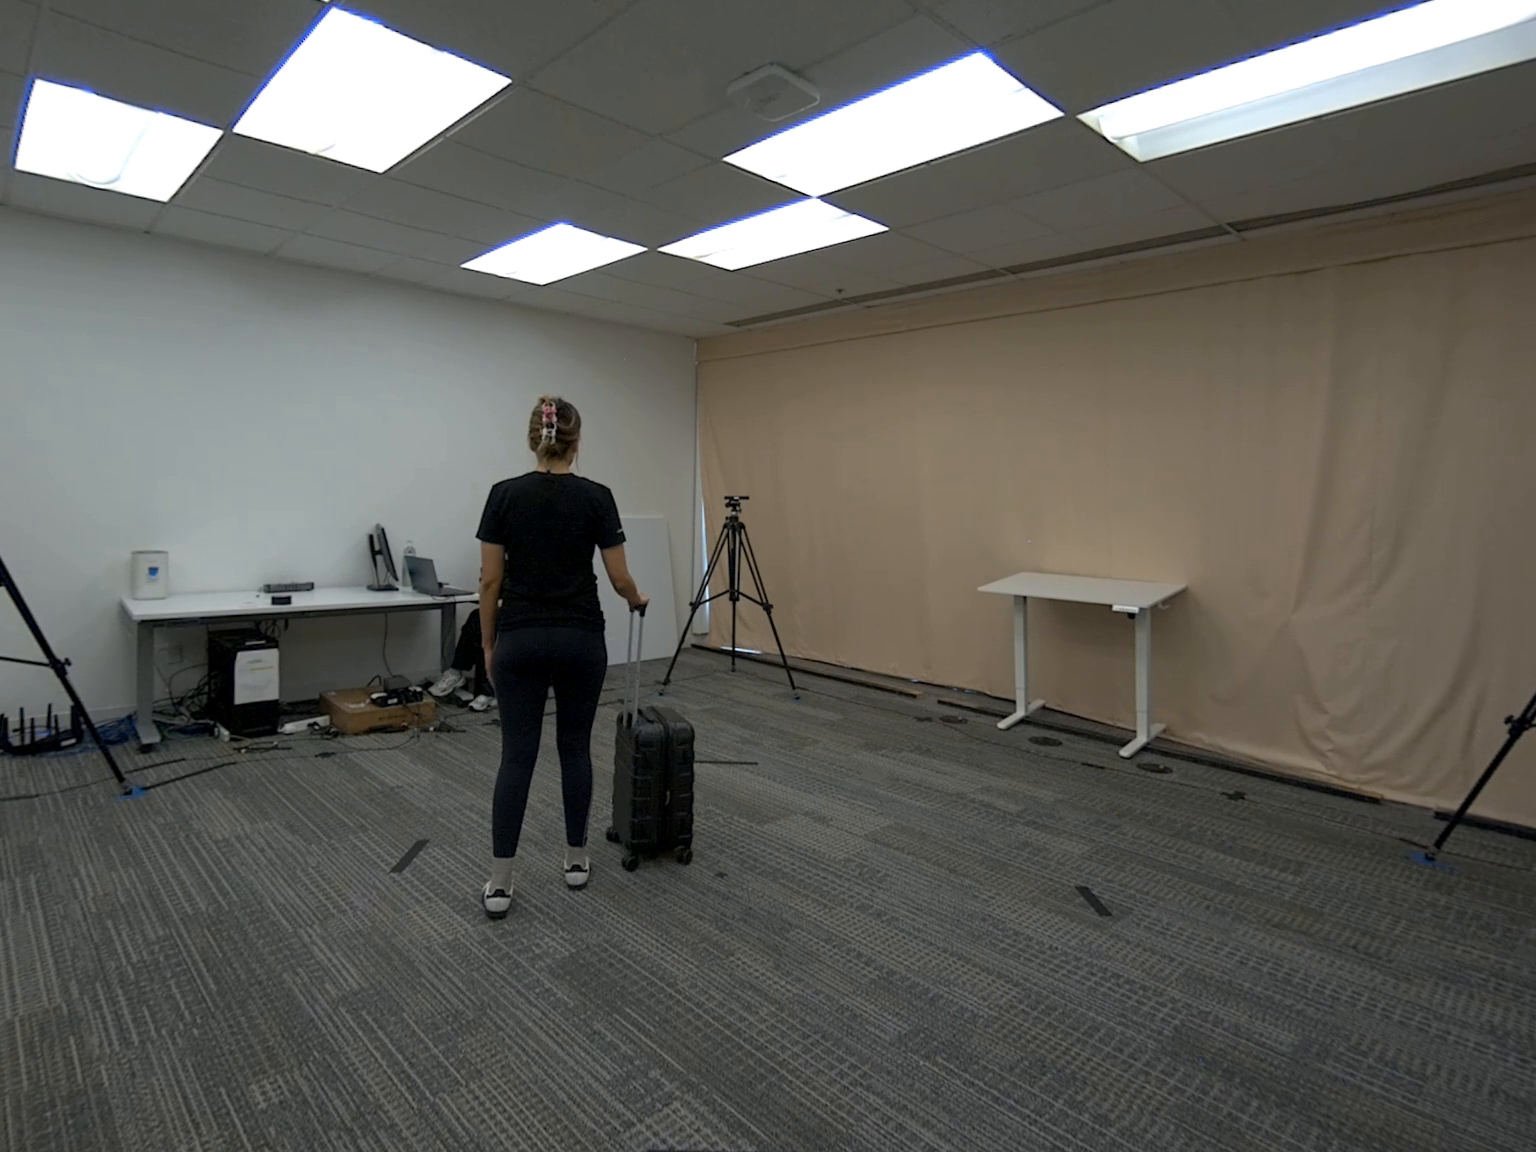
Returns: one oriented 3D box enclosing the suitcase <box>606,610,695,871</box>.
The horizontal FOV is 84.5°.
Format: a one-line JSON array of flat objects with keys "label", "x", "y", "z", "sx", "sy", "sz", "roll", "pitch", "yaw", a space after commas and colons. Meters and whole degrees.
[{"label": "suitcase", "x": -0.447, "y": 0.603, "z": 3.302, "sx": 0.253, "sy": 0.977, "sz": 0.390, "roll": 3, "pitch": 3, "yaw": -19}]
